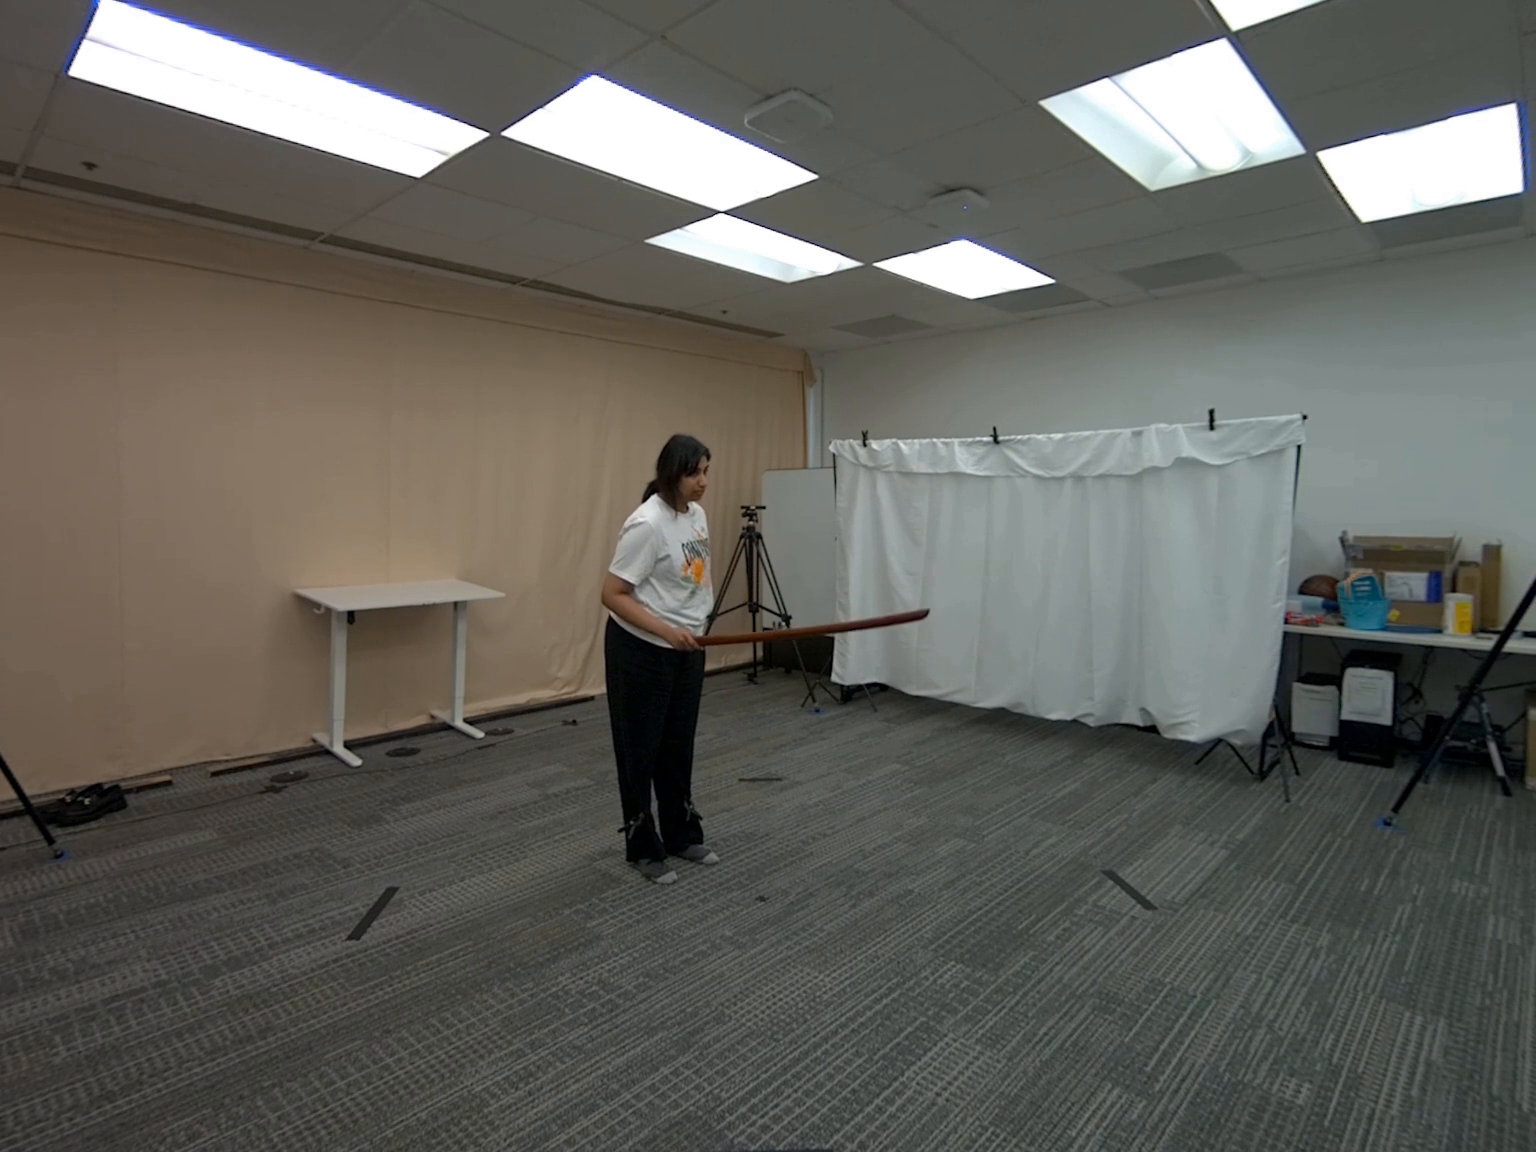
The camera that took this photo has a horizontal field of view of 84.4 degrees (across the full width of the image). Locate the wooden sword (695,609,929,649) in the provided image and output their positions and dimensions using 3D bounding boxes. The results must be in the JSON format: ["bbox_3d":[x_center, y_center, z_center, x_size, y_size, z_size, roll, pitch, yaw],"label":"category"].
[{"bbox_3d":[0.064,0.177,2.666,1.053,0.051,0.023,-11,-10,43],"label":"wooden sword"}]
